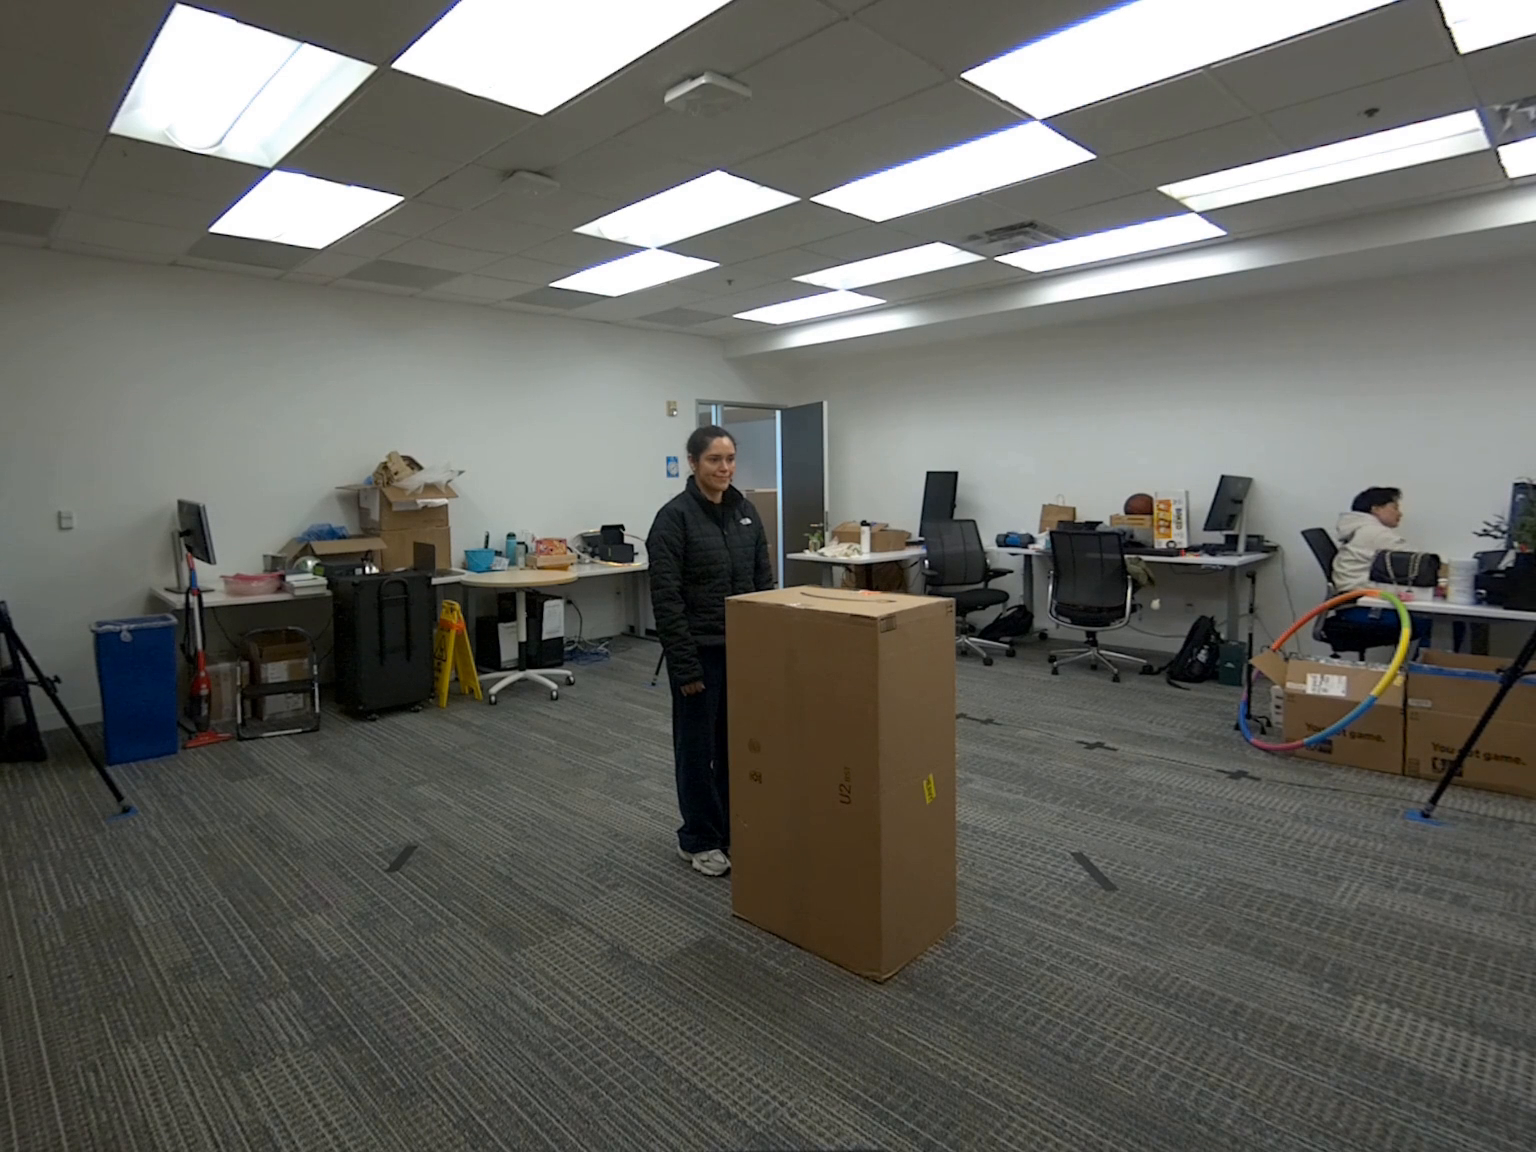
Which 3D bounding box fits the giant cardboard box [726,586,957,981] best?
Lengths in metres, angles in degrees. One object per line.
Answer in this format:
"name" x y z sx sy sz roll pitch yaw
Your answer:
"giant cardboard box" 0.228 0.581 2.677 0.595 1.022 0.415 3 5 43
